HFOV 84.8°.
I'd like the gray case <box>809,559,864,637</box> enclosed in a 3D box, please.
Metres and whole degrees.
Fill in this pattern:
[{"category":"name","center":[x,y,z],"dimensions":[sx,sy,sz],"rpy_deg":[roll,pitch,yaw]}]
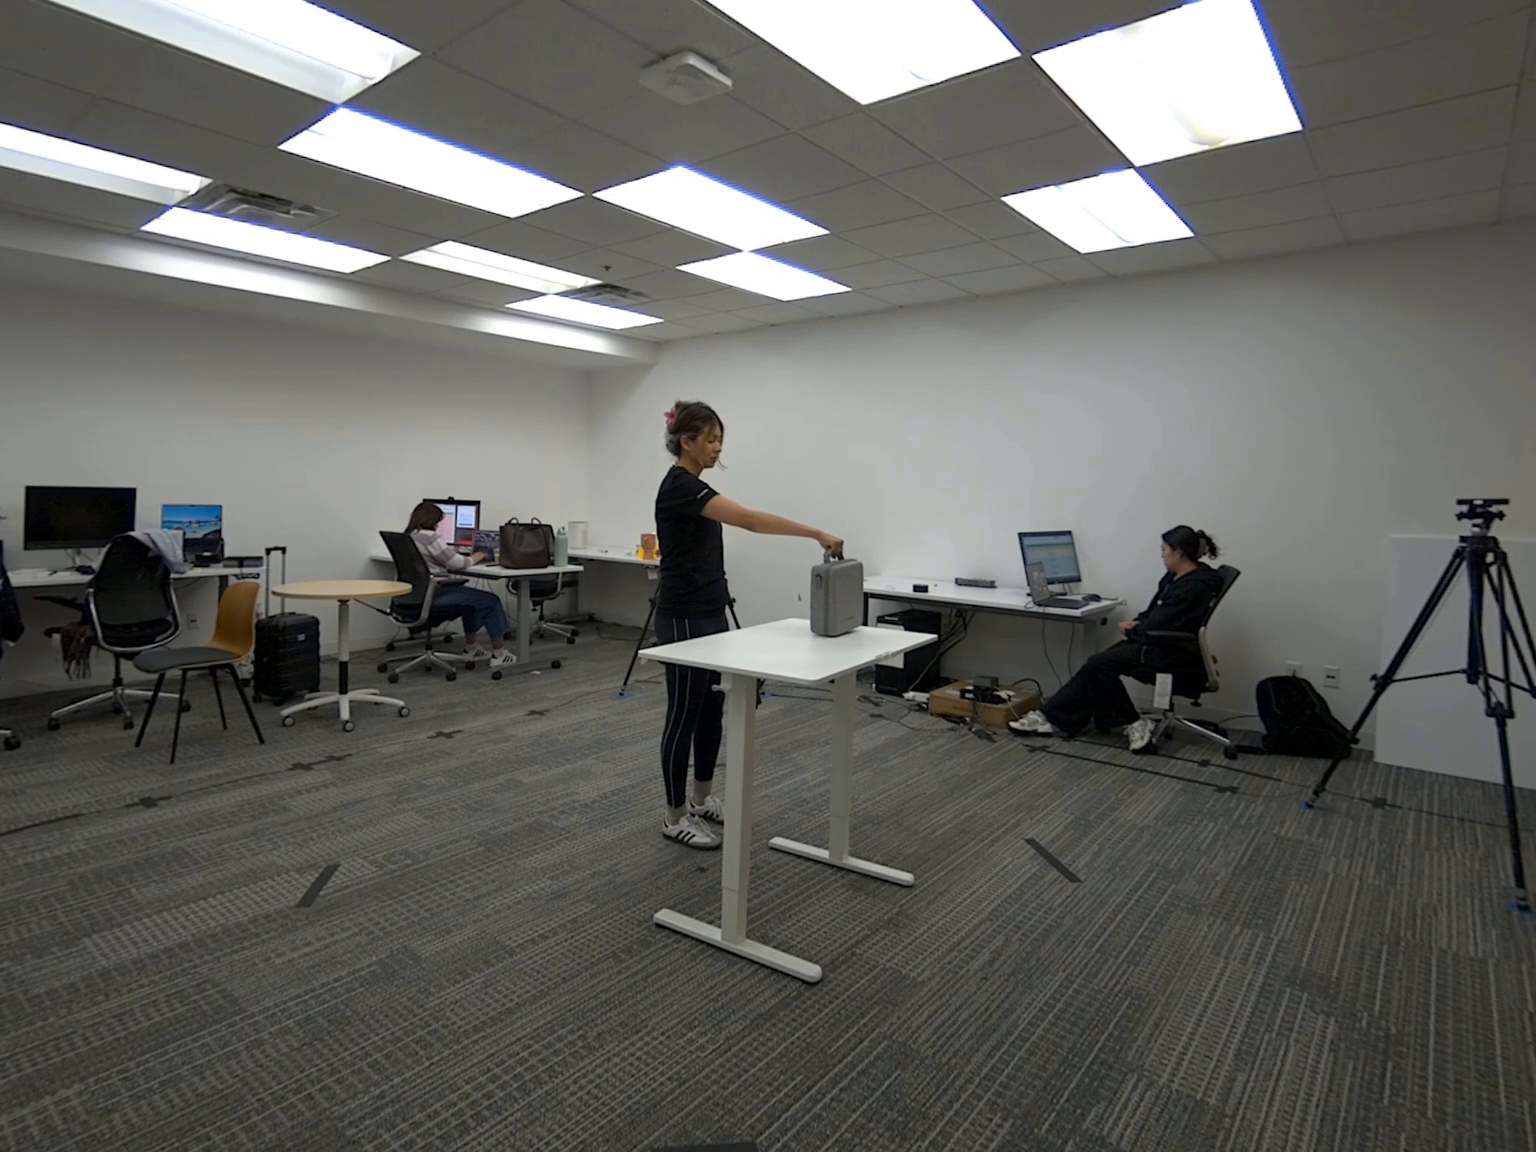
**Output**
[{"category":"gray case","center":[0.239,0.068,3.056],"dimensions":[0.107,0.259,0.250],"rpy_deg":[2,6,31]}]
